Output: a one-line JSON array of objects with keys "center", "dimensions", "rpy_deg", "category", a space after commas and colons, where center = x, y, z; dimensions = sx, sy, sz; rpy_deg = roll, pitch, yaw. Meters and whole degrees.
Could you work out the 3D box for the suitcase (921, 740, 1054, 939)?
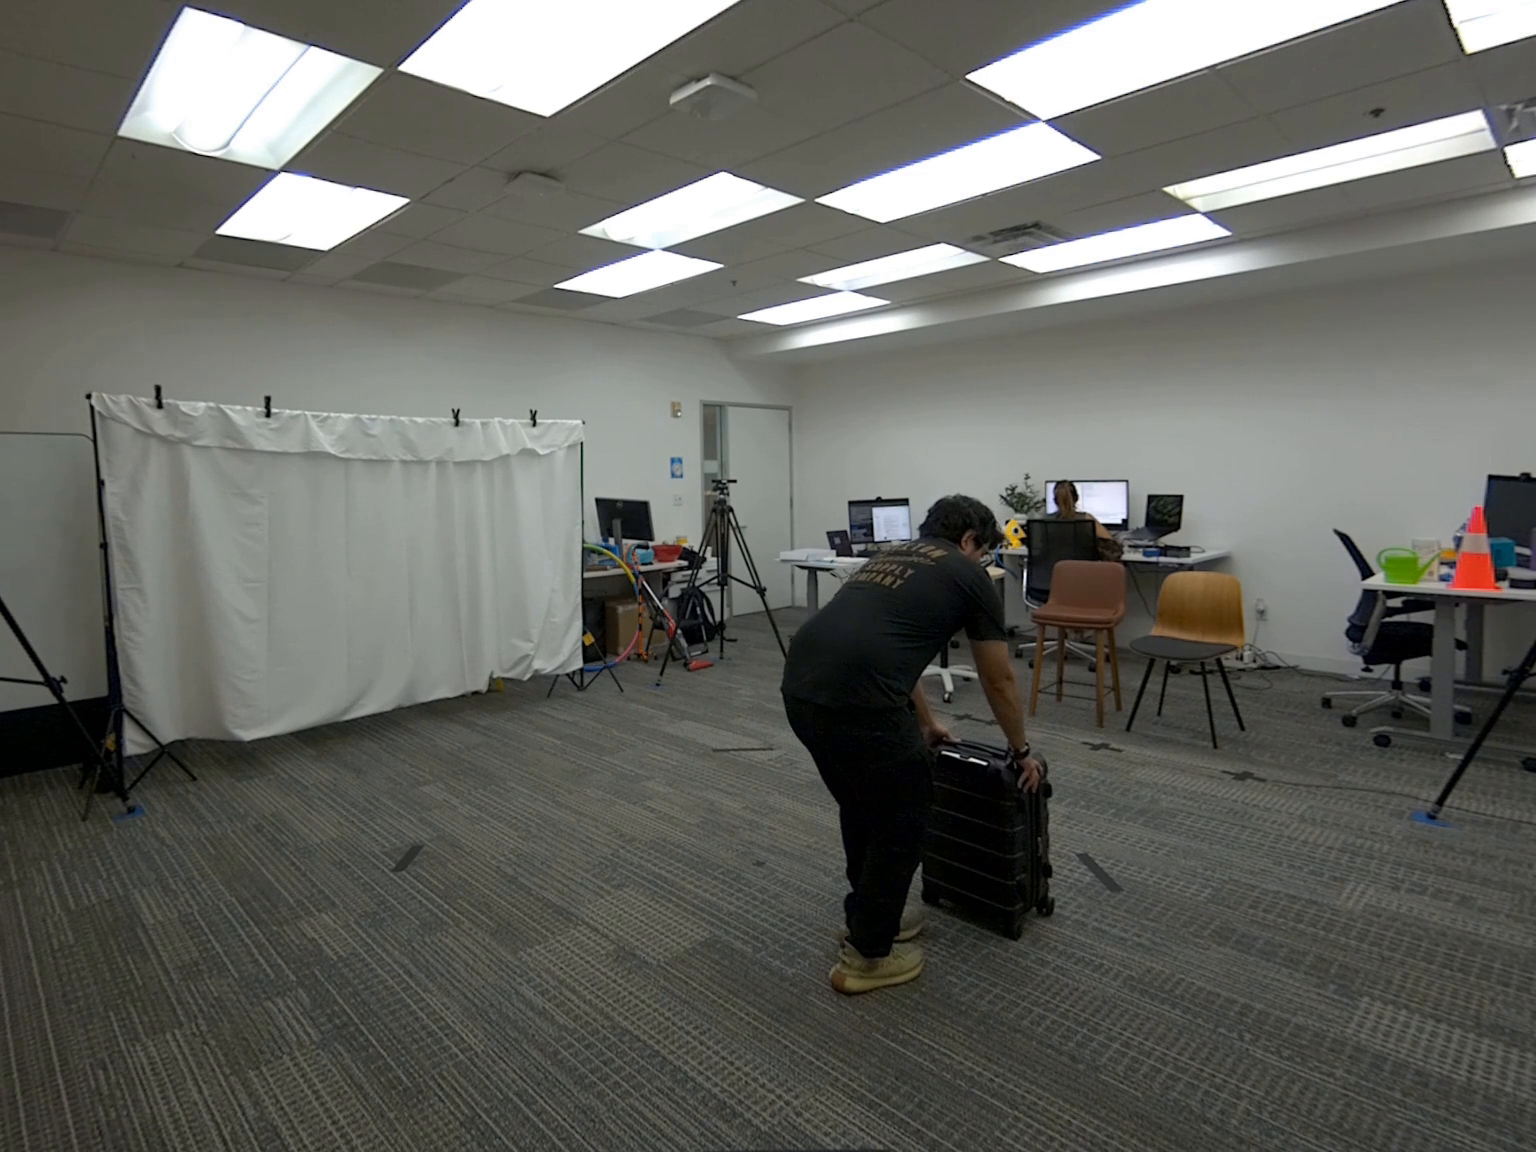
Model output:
[{"center": [0.696, 0.802, 2.731], "dimensions": [0.242, 0.546, 0.387], "rpy_deg": [-7, 8, -42], "category": "suitcase"}]
